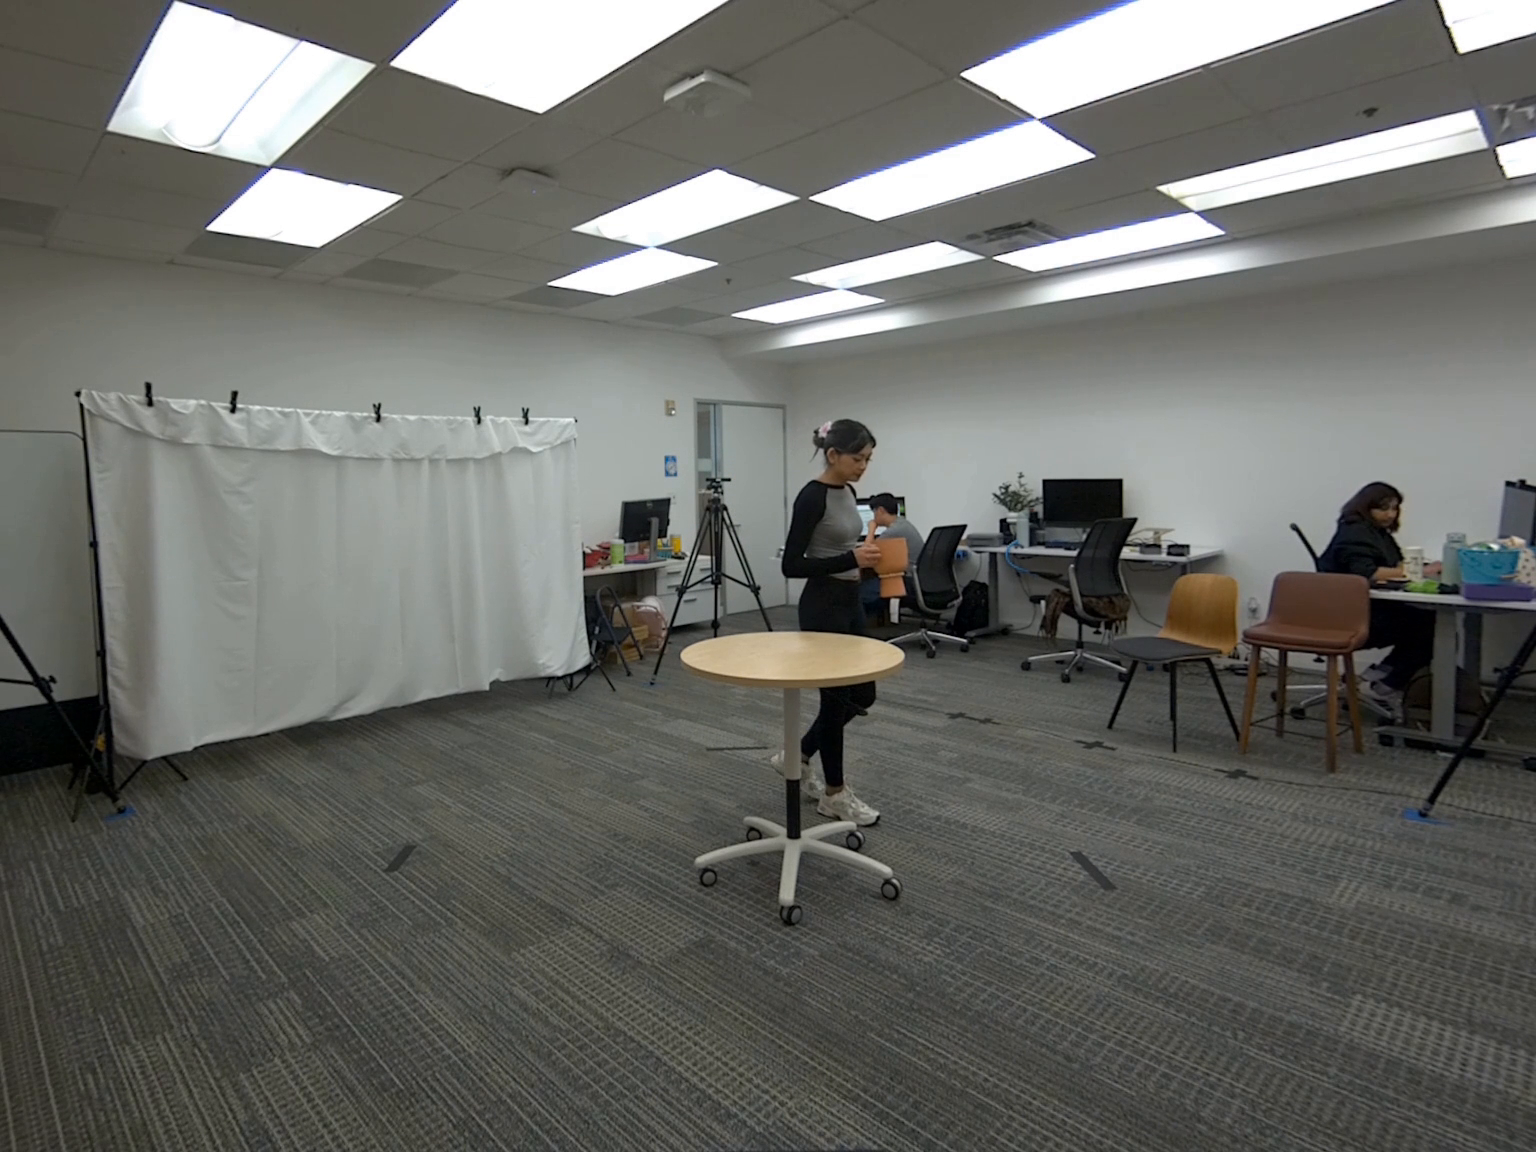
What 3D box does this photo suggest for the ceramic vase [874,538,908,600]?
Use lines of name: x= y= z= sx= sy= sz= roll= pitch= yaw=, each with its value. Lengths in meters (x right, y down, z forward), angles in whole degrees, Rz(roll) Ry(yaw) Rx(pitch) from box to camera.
ceramic vase: x=0.466 y=-0.034 z=3.301 sx=0.159 sy=0.220 sz=0.134 roll=-5 pitch=-1 yaw=0
